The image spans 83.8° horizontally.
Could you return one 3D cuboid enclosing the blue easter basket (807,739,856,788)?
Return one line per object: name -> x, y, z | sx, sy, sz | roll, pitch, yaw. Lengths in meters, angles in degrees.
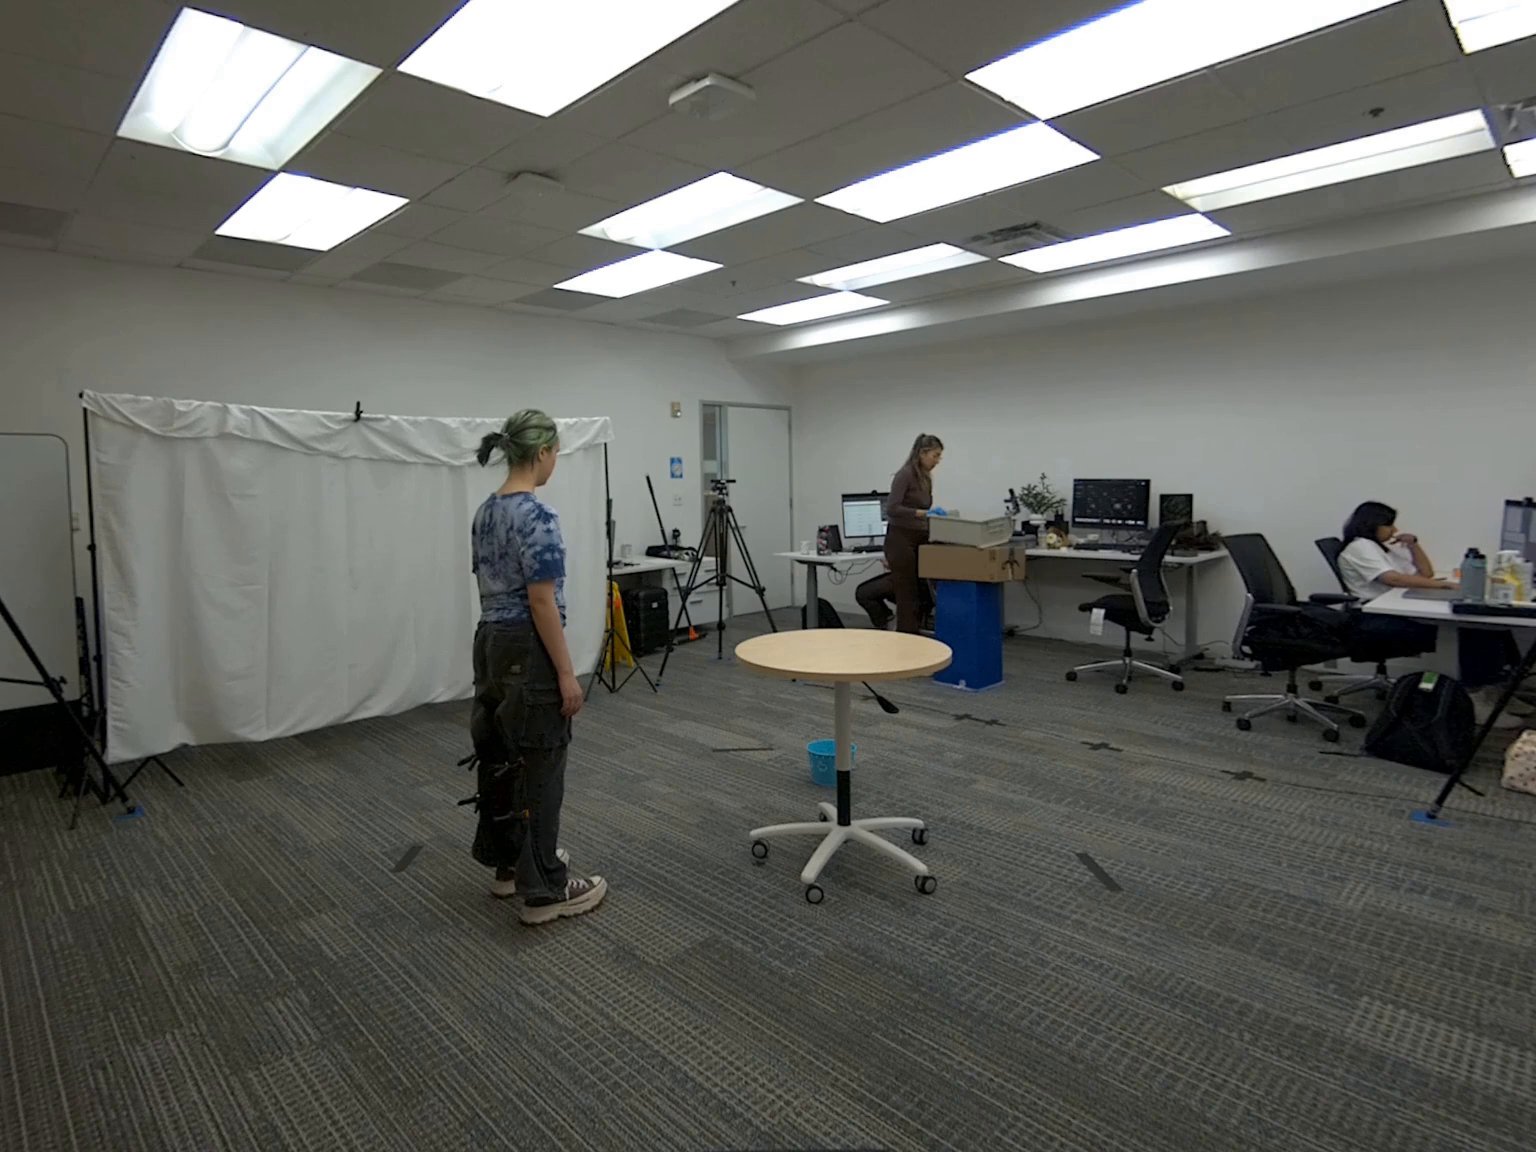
blue easter basket -> 0.301, 0.868, 3.968 | 0.243, 0.155, 0.245 | -1, 6, -2
